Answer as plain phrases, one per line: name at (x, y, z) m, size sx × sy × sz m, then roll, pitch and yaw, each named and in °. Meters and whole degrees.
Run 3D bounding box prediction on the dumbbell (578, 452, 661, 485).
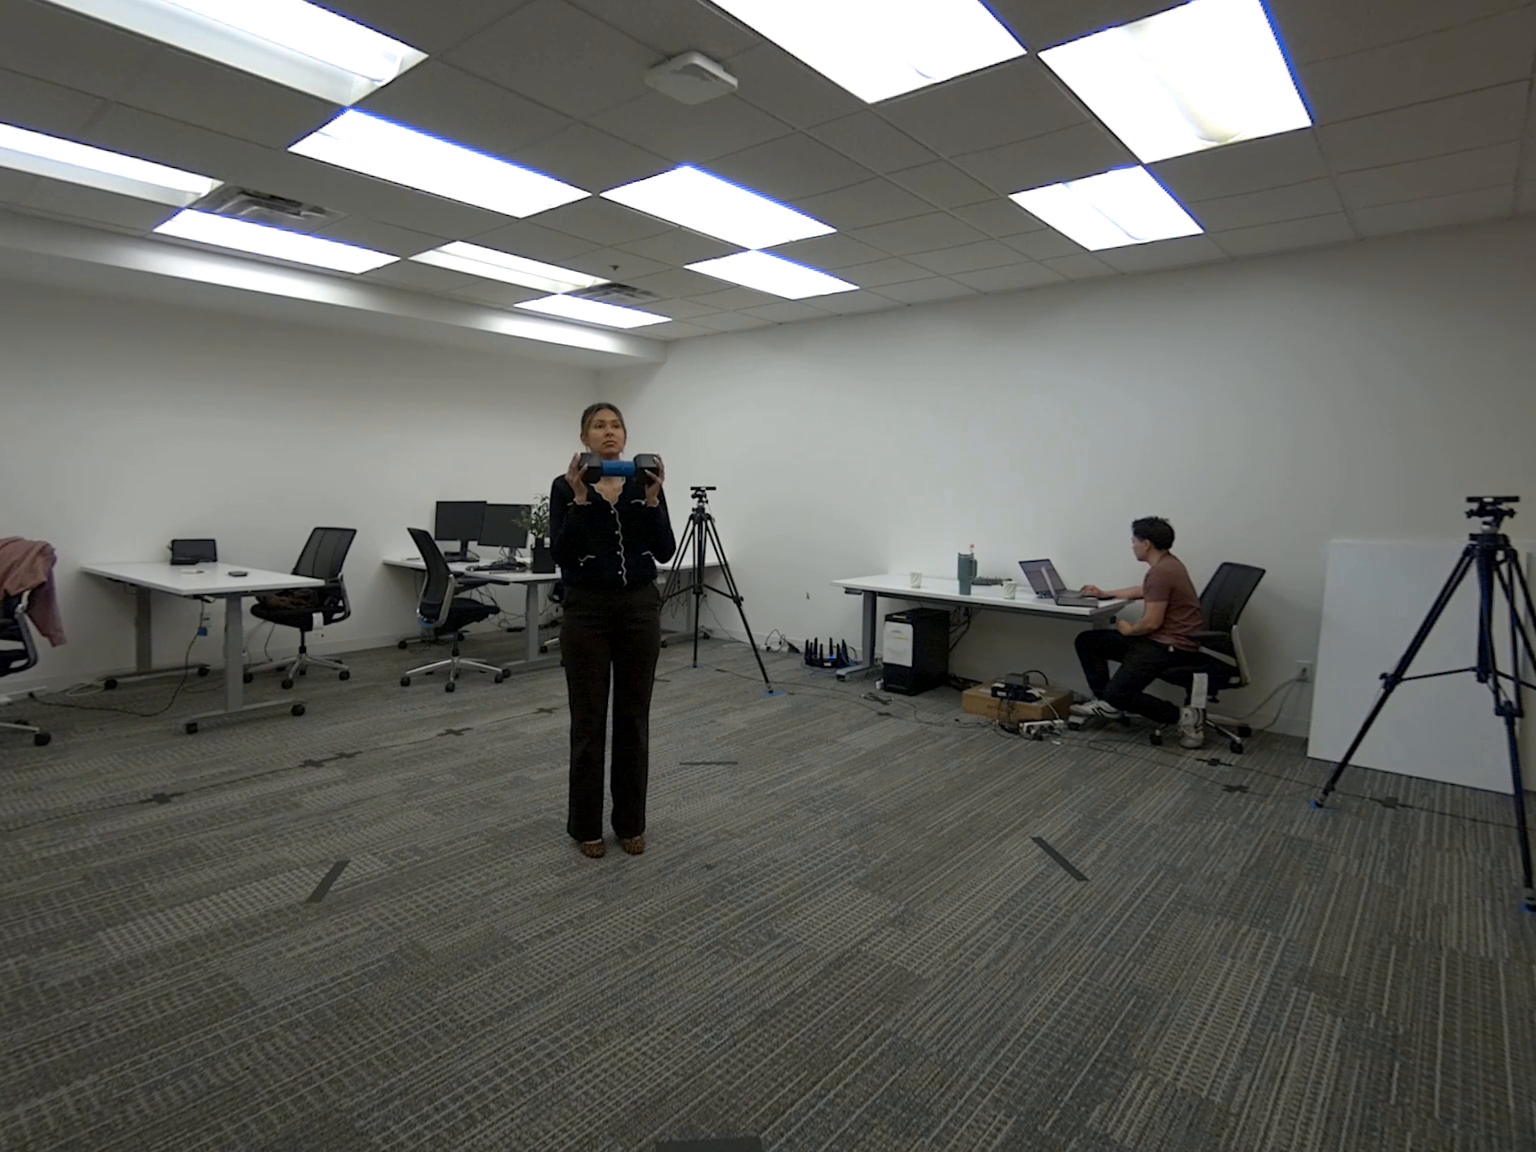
dumbbell at (-0.561, -0.391, 3.115) m, size 0.287 × 0.121 × 0.113 m, roll -1°, pitch 39°, yaw -21°
